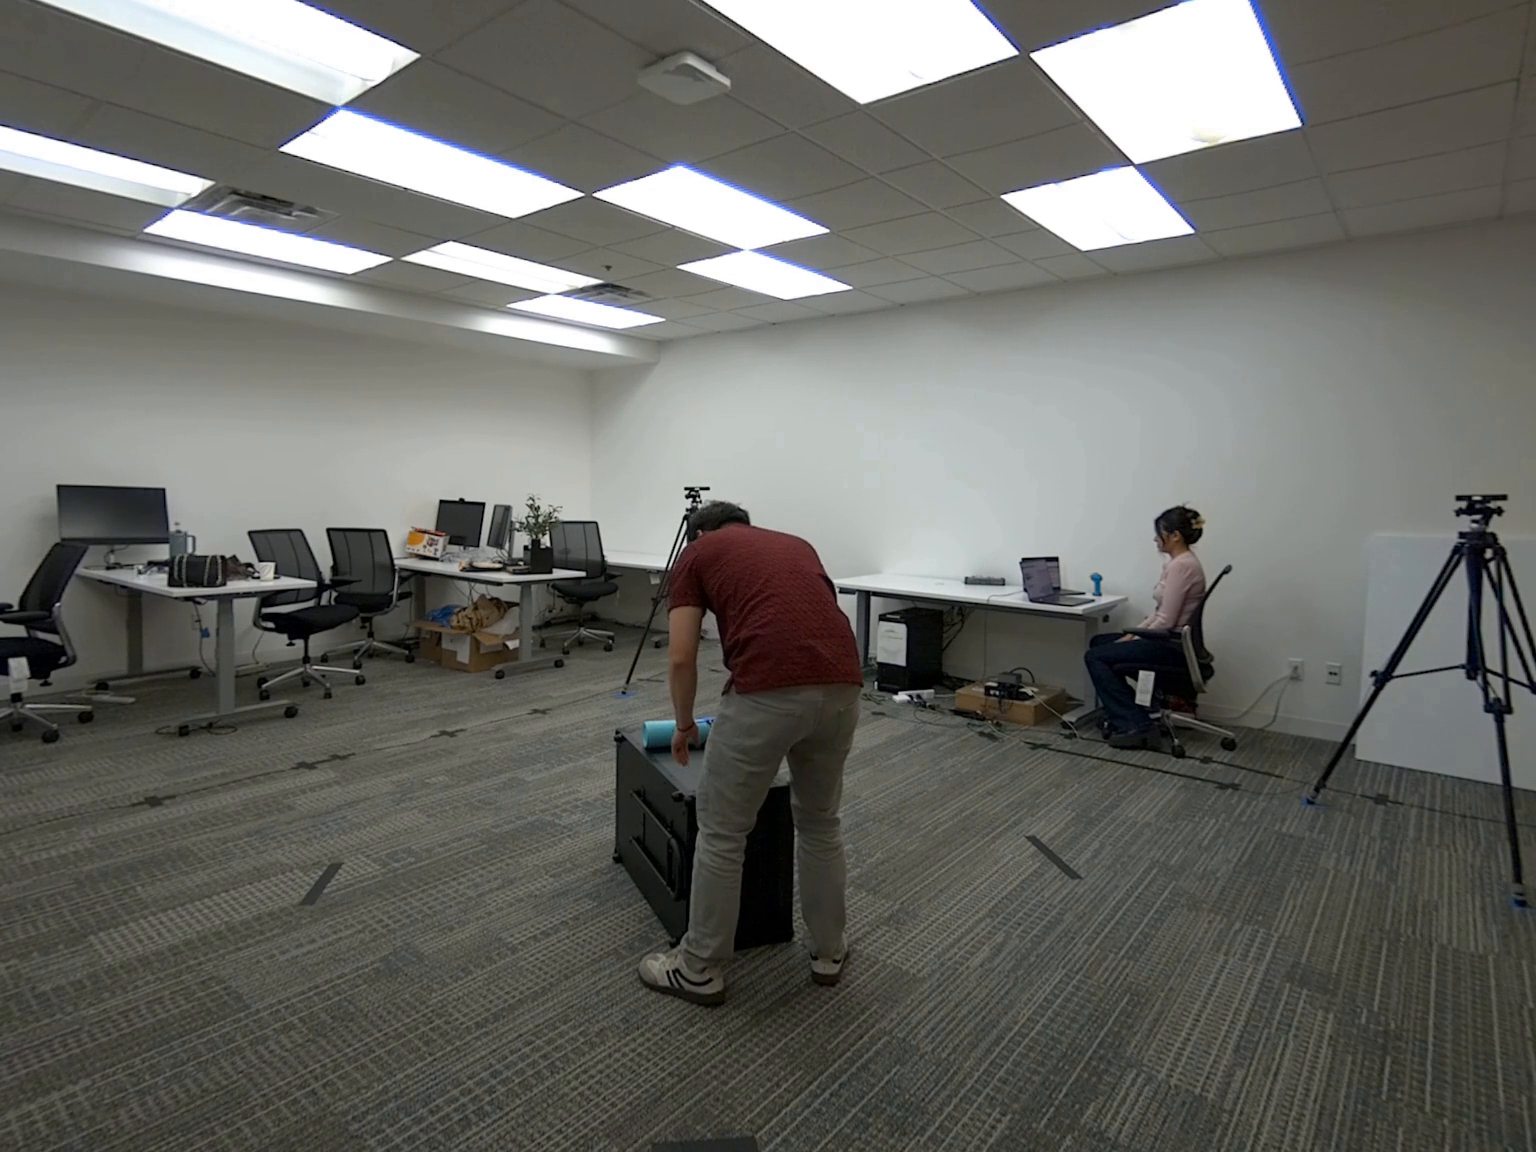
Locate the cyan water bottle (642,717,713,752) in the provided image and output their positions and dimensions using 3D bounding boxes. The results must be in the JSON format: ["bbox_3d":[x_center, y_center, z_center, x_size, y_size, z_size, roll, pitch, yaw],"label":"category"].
[{"bbox_3d":[-0.308,0.545,2.991,0.279,0.092,0.094,-1,4,-14],"label":"cyan water bottle"}]
